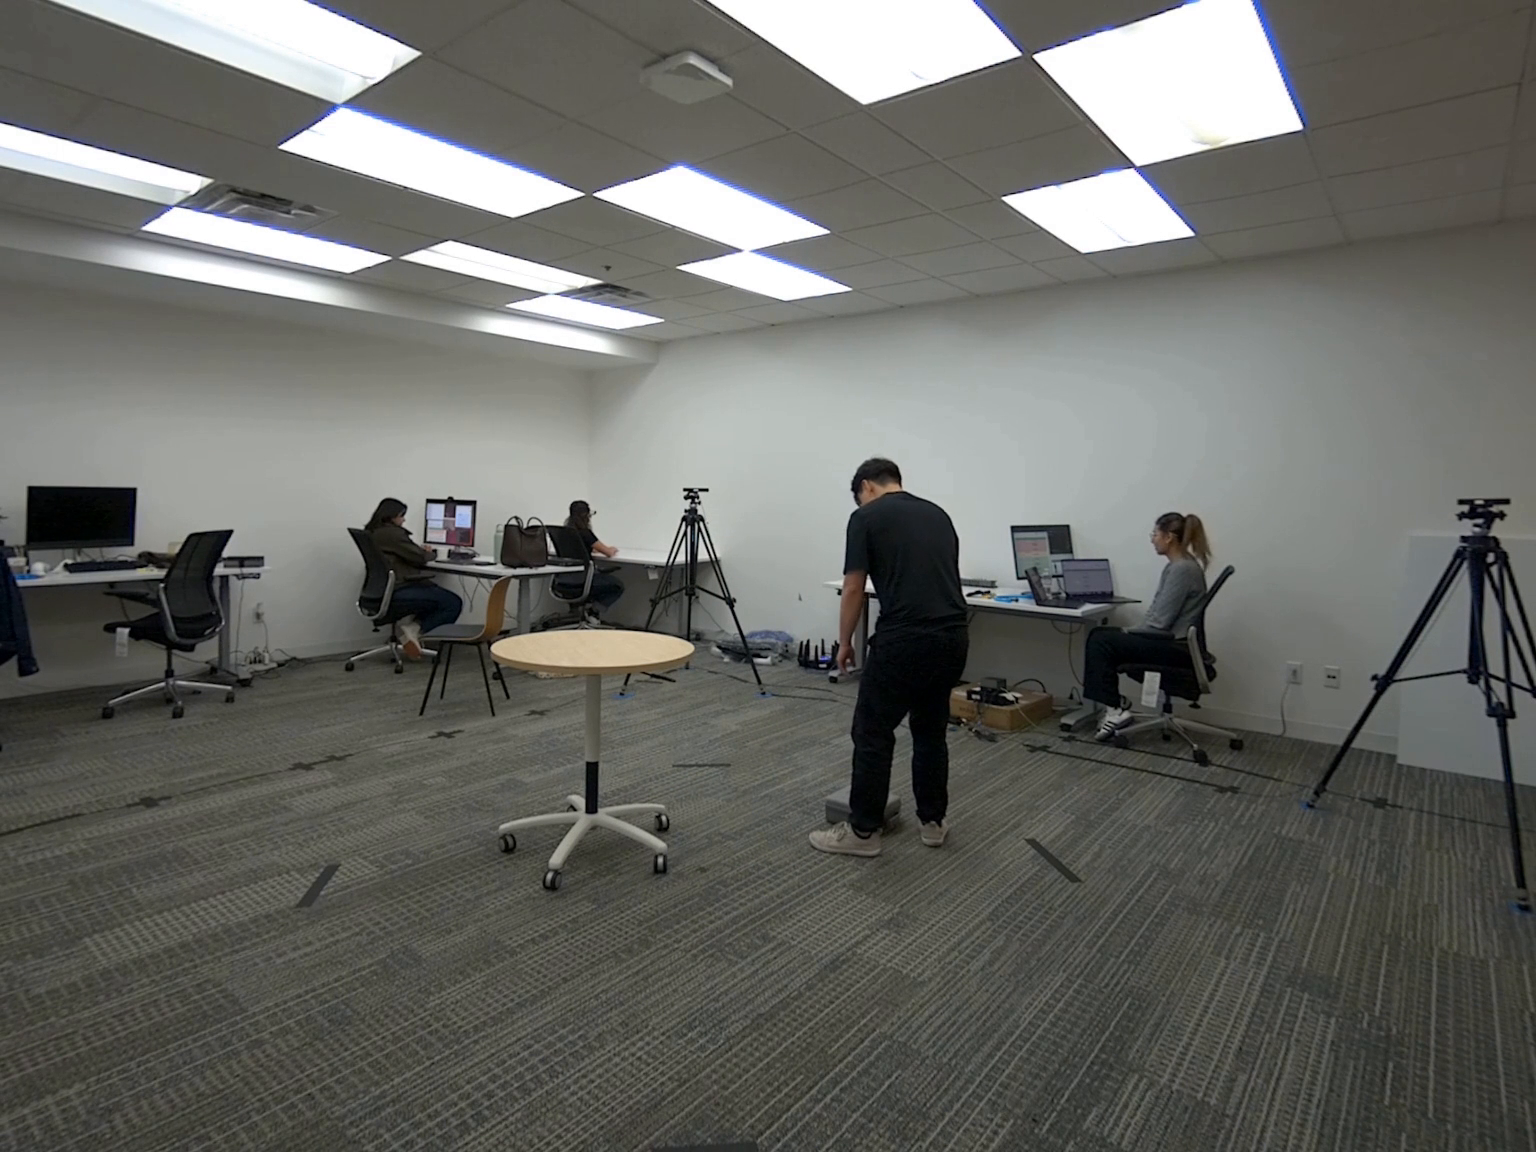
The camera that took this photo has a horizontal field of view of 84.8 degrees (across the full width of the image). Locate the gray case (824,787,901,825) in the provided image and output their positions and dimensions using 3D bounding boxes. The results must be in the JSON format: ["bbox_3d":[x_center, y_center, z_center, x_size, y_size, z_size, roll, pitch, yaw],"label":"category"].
[{"bbox_3d":[0.403,0.975,3.610,0.269,0.104,0.249,5,6,35],"label":"gray case"}]
